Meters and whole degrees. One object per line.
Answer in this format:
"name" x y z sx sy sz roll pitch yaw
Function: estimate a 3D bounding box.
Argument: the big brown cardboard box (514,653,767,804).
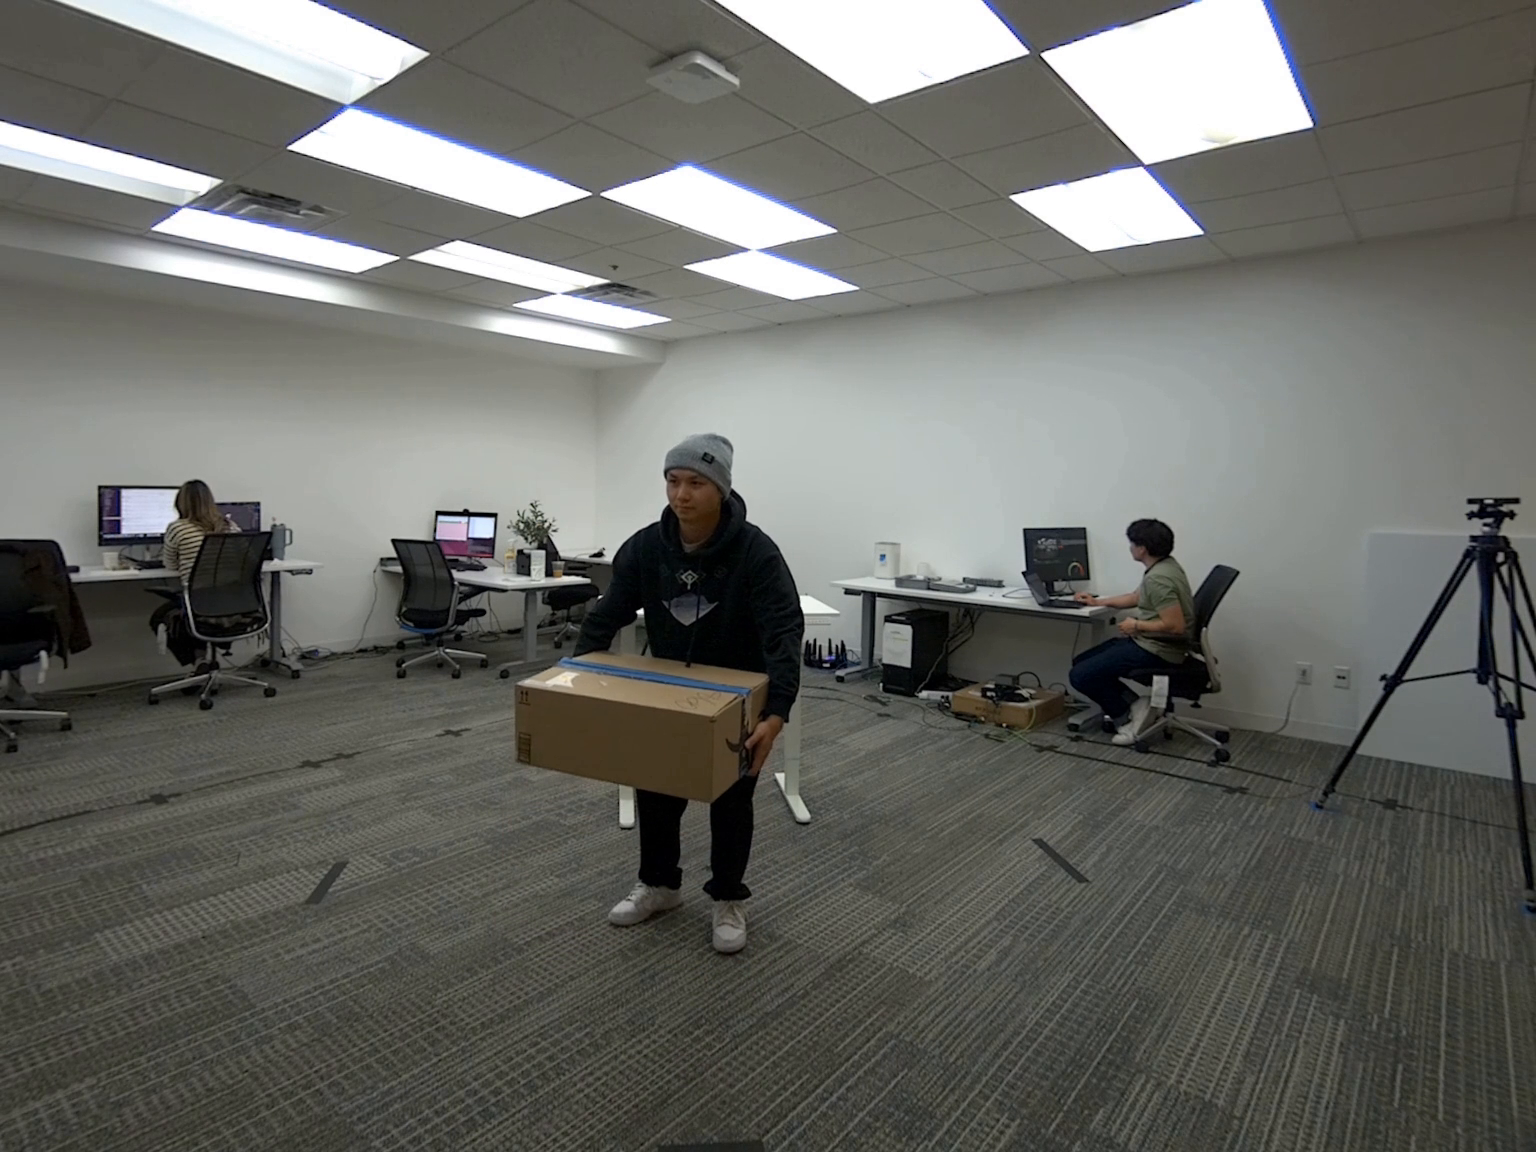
"big brown cardboard box" -0.333 0.375 2.292 0.604 0.232 0.410 6 8 23
